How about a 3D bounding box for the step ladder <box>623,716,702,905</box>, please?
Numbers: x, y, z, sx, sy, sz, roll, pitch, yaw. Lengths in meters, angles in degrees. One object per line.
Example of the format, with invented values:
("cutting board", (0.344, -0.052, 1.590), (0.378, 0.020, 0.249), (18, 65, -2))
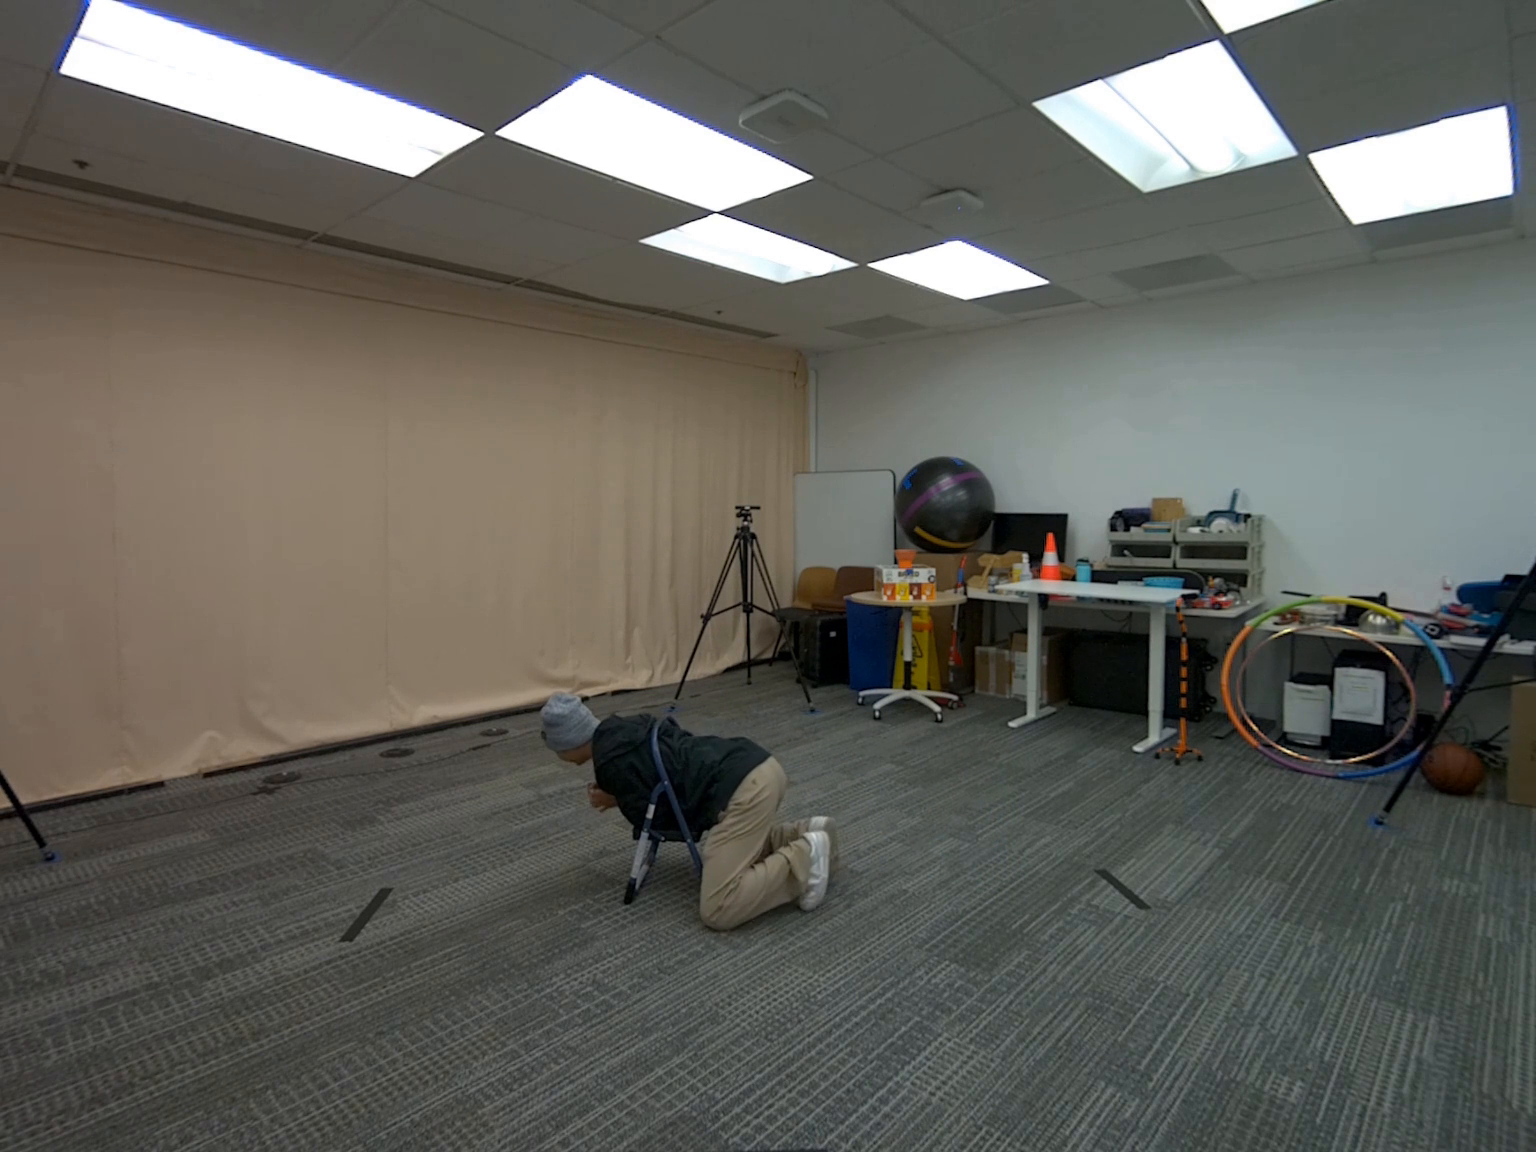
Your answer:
("step ladder", (-0.323, 0.843, 3.105), (0.351, 0.605, 0.429), (0, 3, 5))
